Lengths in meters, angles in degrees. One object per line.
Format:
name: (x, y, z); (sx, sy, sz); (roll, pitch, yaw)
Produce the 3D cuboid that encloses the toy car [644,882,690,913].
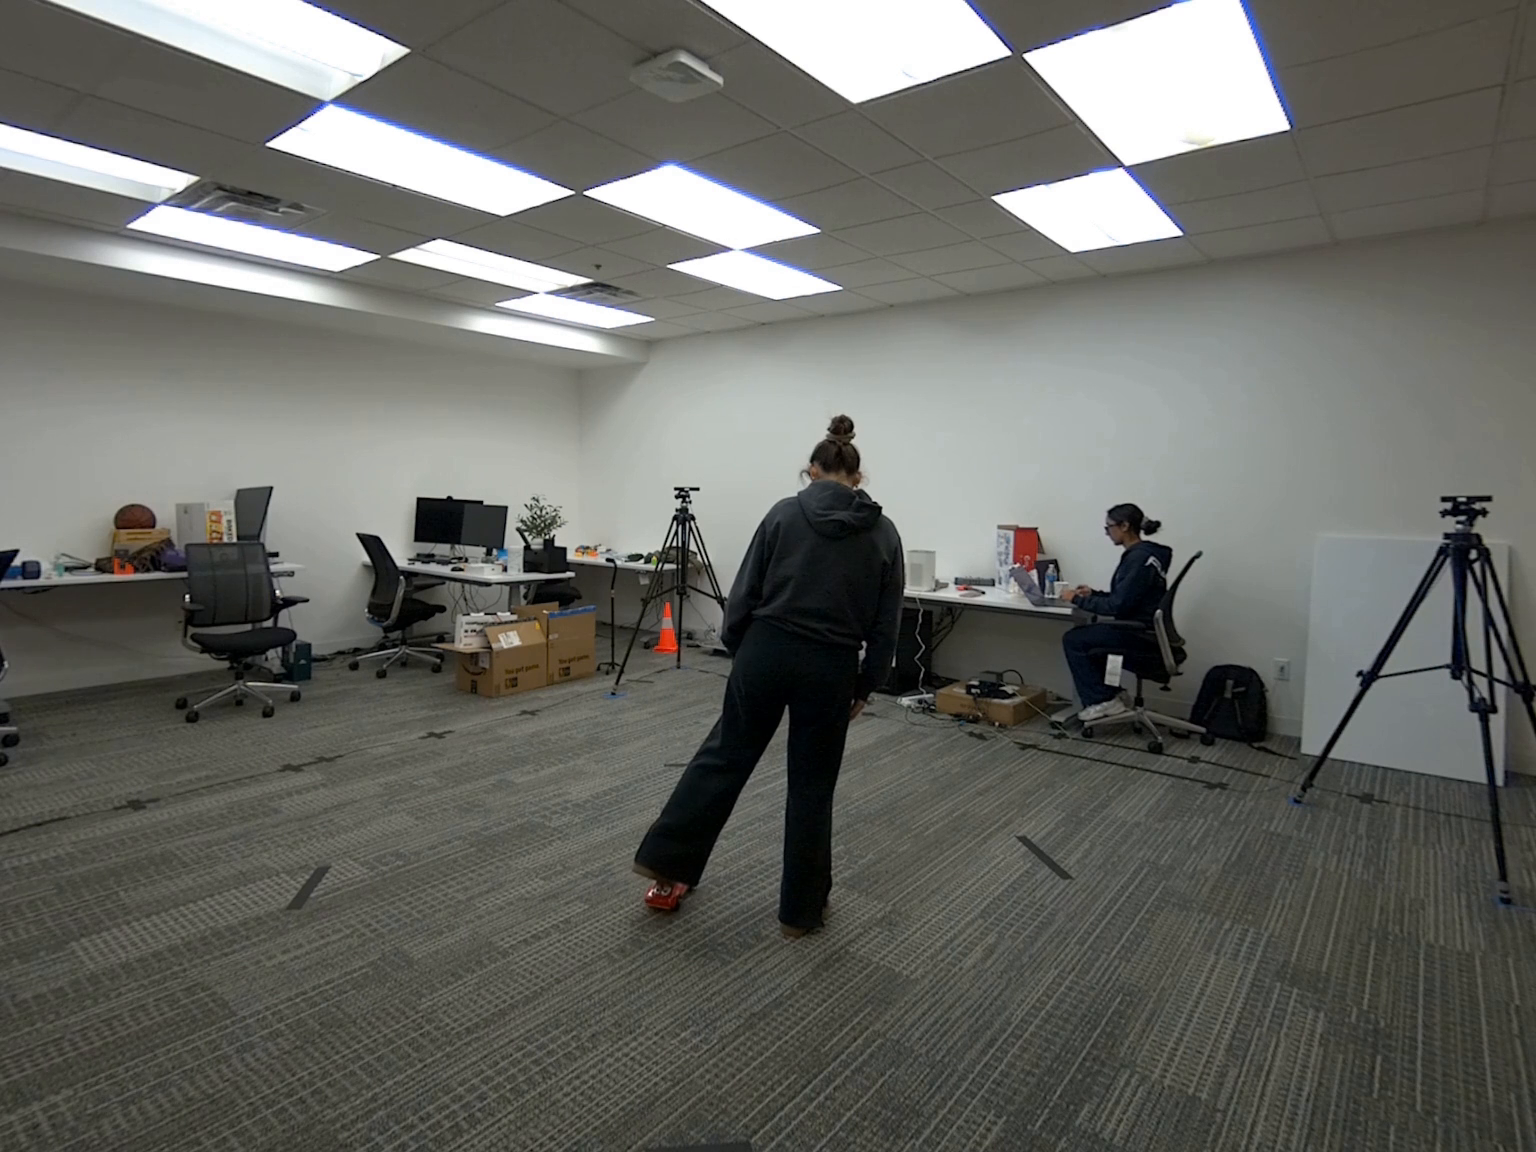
toy car: (-0.331, 1.061, 2.868); (0.133, 0.083, 0.248); (3, -5, 16)
